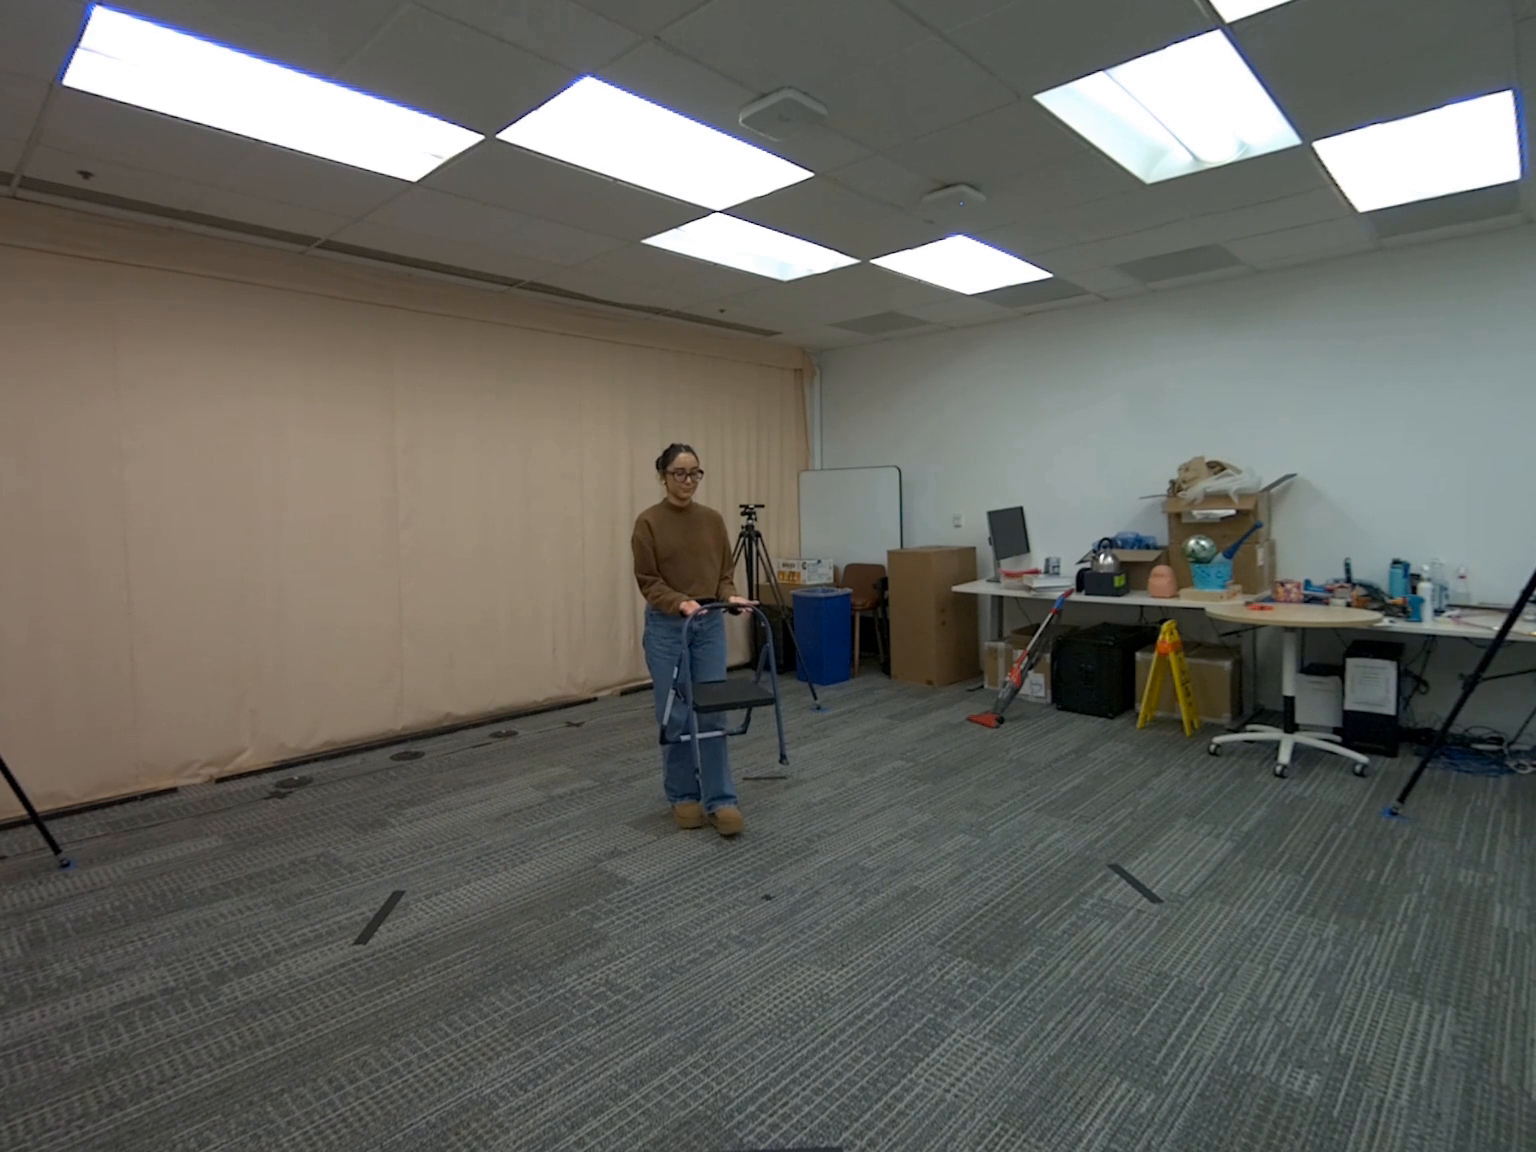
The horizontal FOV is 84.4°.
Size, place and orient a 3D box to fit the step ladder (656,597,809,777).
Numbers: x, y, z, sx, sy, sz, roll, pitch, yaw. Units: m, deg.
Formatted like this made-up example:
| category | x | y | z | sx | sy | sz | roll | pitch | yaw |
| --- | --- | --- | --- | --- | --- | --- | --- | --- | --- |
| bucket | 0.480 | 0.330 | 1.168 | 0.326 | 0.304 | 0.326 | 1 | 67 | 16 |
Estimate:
| category | x | y | z | sx | sy | sz | roll | pitch | yaw |
| --- | --- | --- | --- | --- | --- | --- | --- | --- | --- |
| step ladder | -0.150 | 0.424 | 3.347 | 0.418 | 0.603 | 0.361 | -1 | 11 | -33 |
